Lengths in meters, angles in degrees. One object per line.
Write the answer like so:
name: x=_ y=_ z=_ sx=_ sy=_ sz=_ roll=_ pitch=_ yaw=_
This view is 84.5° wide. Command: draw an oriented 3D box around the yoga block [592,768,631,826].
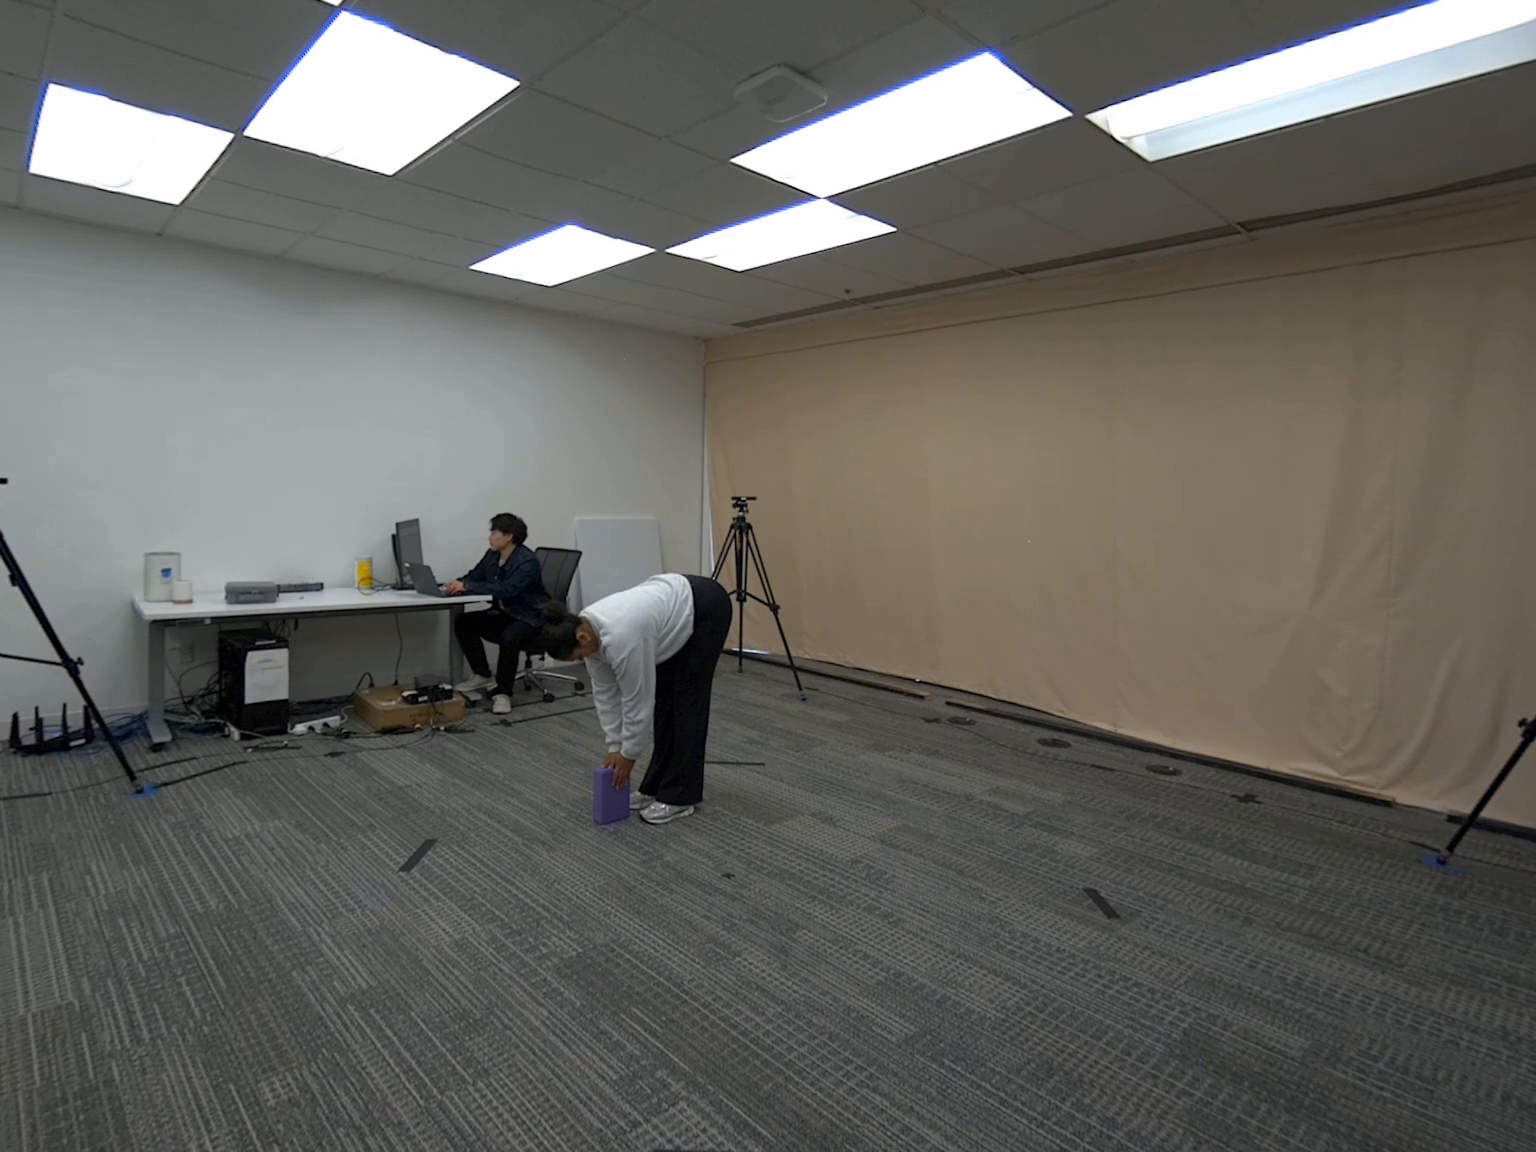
yoga block: x=-0.681 y=0.932 z=3.618 sx=0.078 sy=0.229 sz=0.146 roll=5 pitch=6 yaw=44
